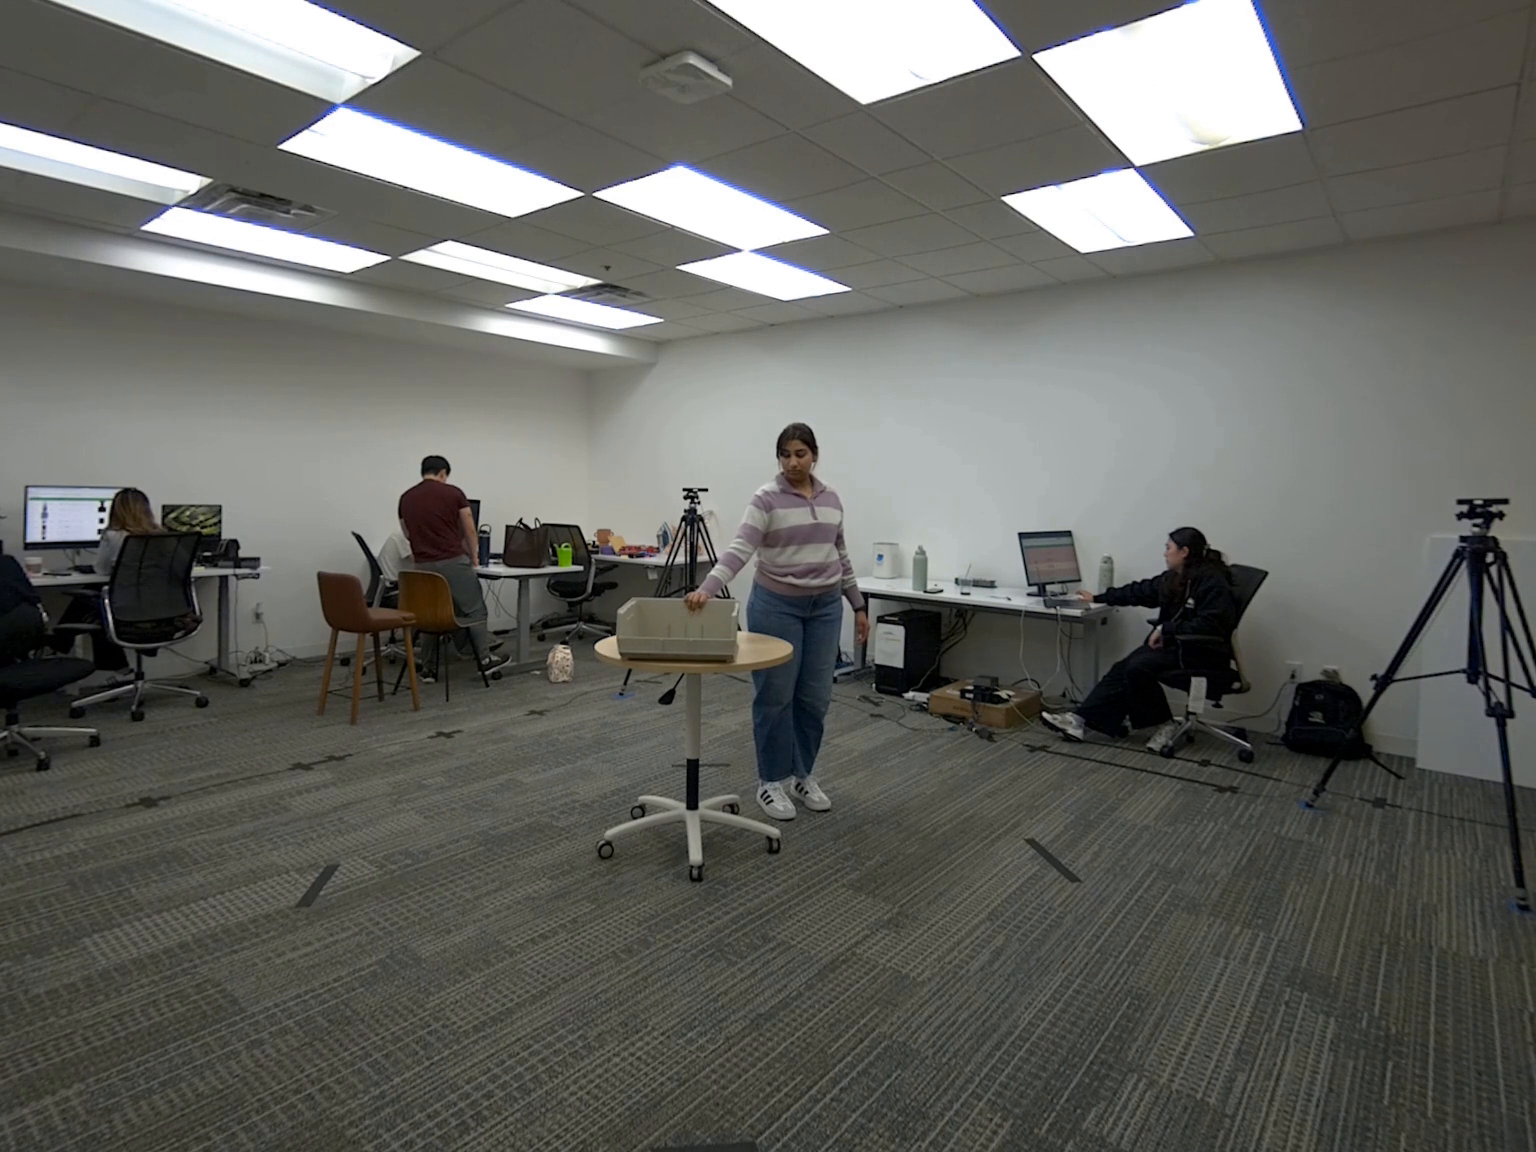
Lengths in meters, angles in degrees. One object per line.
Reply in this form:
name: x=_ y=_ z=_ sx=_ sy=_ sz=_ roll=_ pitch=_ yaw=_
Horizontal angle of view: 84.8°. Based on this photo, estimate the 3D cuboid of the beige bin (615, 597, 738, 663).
beige bin: x=-0.327 y=0.192 z=3.122 sx=0.423 sy=0.188 sz=0.378 roll=1 pitch=4 yaw=0
